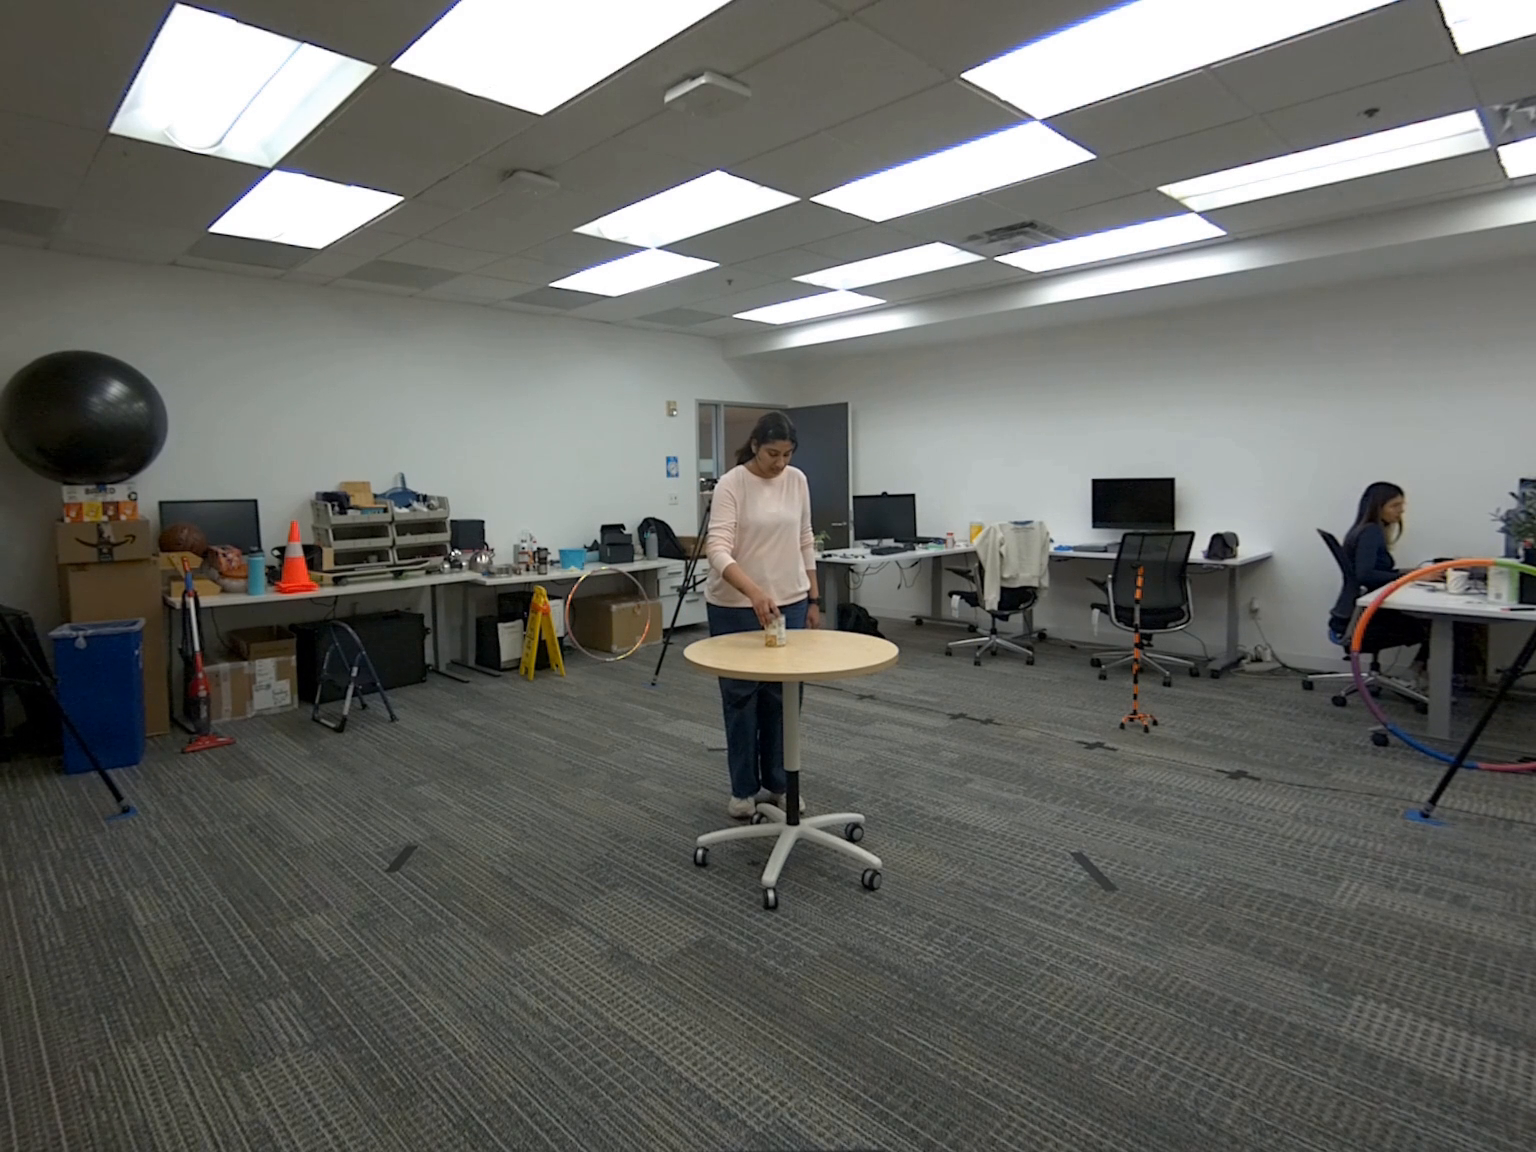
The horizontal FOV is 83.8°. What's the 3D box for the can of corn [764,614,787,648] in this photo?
[{"bbox_3d":[0.022,0.204,3.133,0.074,0.111,0.074,-4,2,-1],"label":"can of corn"}]
